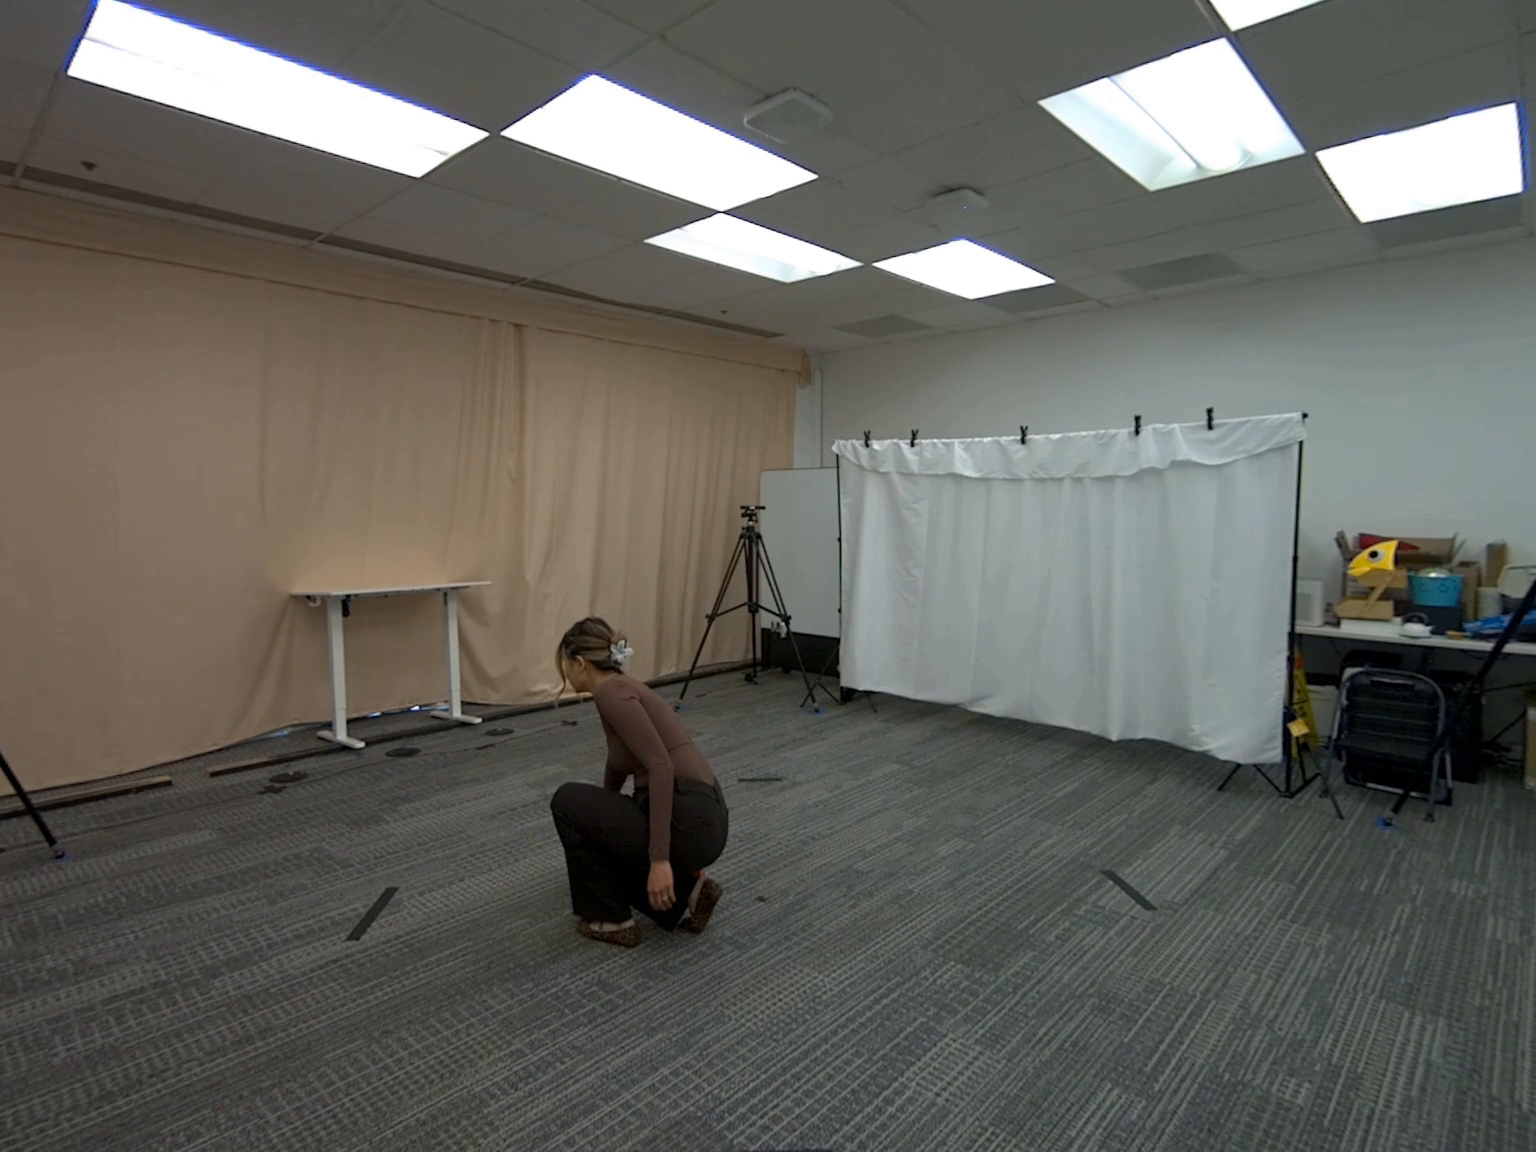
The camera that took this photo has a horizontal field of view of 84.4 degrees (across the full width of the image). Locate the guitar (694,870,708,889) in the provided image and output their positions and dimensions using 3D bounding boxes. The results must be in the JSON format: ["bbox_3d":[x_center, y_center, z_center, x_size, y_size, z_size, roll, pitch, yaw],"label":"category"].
[{"bbox_3d":[-0.464,1.087,3.062,0.504,0.194,0.069,-17,-4,15],"label":"guitar"}]
